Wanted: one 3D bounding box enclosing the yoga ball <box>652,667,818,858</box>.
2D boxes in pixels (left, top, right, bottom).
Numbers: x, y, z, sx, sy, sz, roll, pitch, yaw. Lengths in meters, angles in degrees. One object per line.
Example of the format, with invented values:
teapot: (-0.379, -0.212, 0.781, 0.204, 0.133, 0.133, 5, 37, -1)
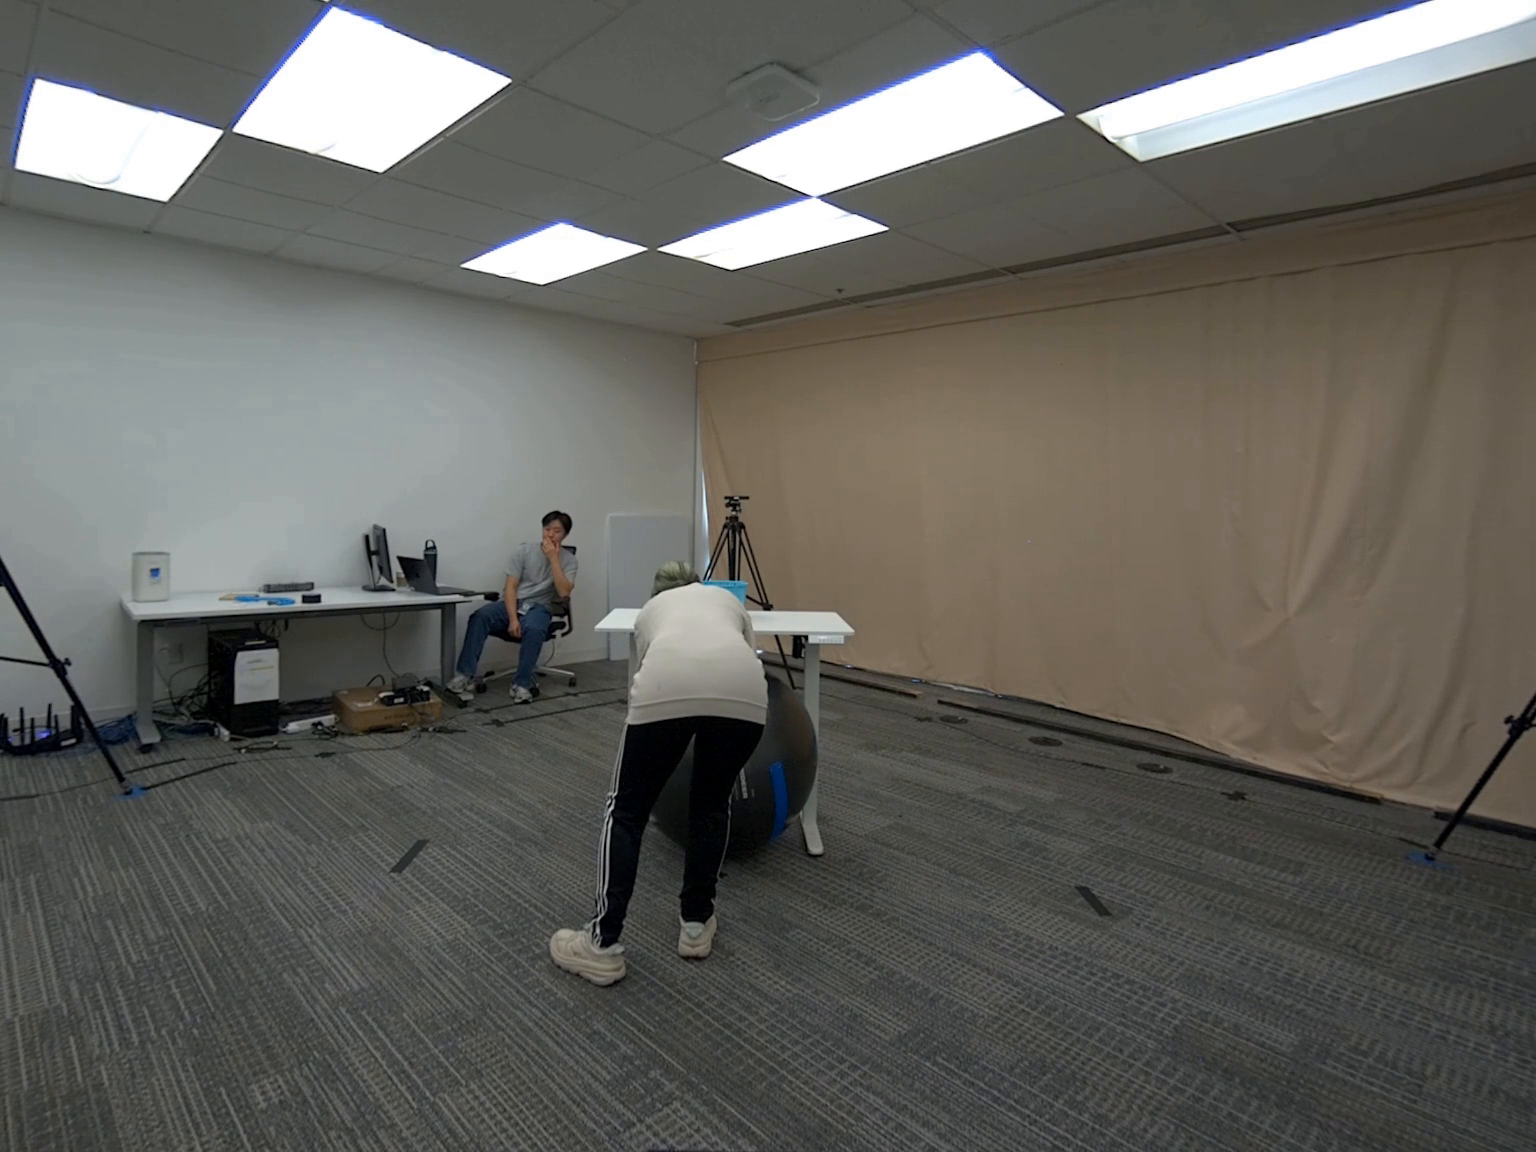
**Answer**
yoga ball: (-0.188, 0.712, 3.343, 0.757, 0.756, 0.761, 1, 4, -1)
